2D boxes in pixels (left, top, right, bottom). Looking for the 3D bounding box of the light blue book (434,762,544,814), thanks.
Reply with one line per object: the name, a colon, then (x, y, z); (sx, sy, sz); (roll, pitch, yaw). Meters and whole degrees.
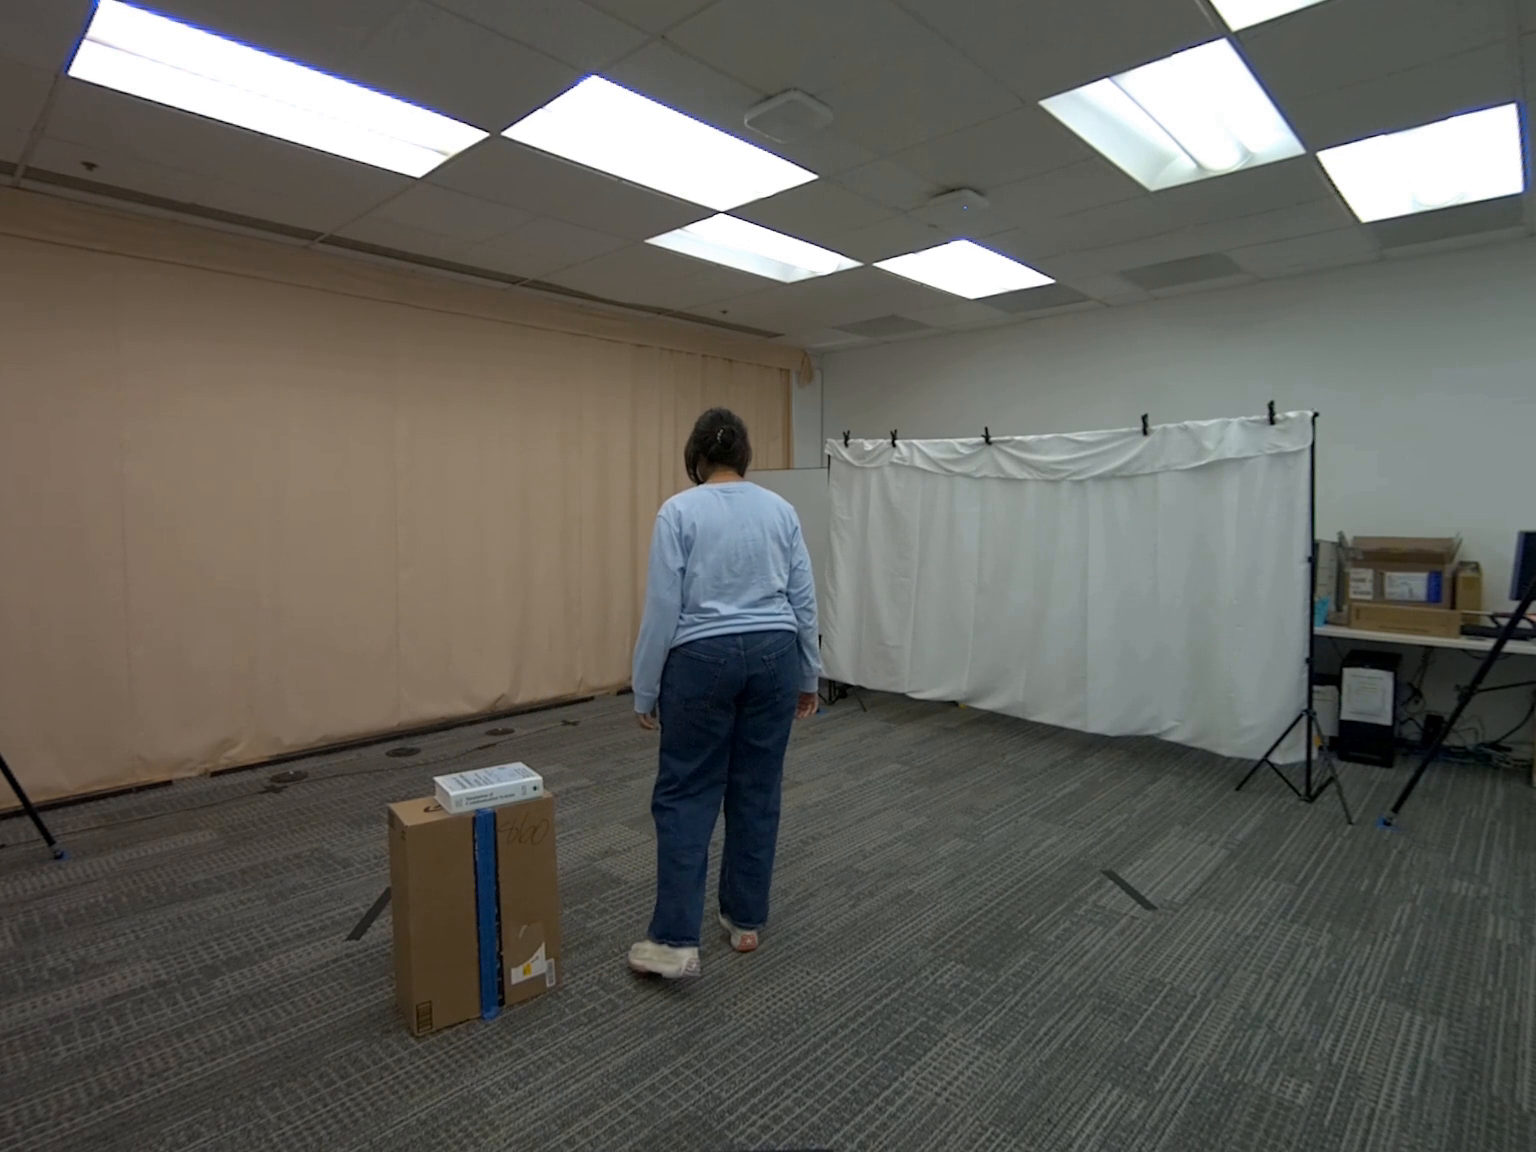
light blue book: (-0.800, 0.603, 2.416); (0.253, 0.059, 0.197); (-3, 3, -34)
